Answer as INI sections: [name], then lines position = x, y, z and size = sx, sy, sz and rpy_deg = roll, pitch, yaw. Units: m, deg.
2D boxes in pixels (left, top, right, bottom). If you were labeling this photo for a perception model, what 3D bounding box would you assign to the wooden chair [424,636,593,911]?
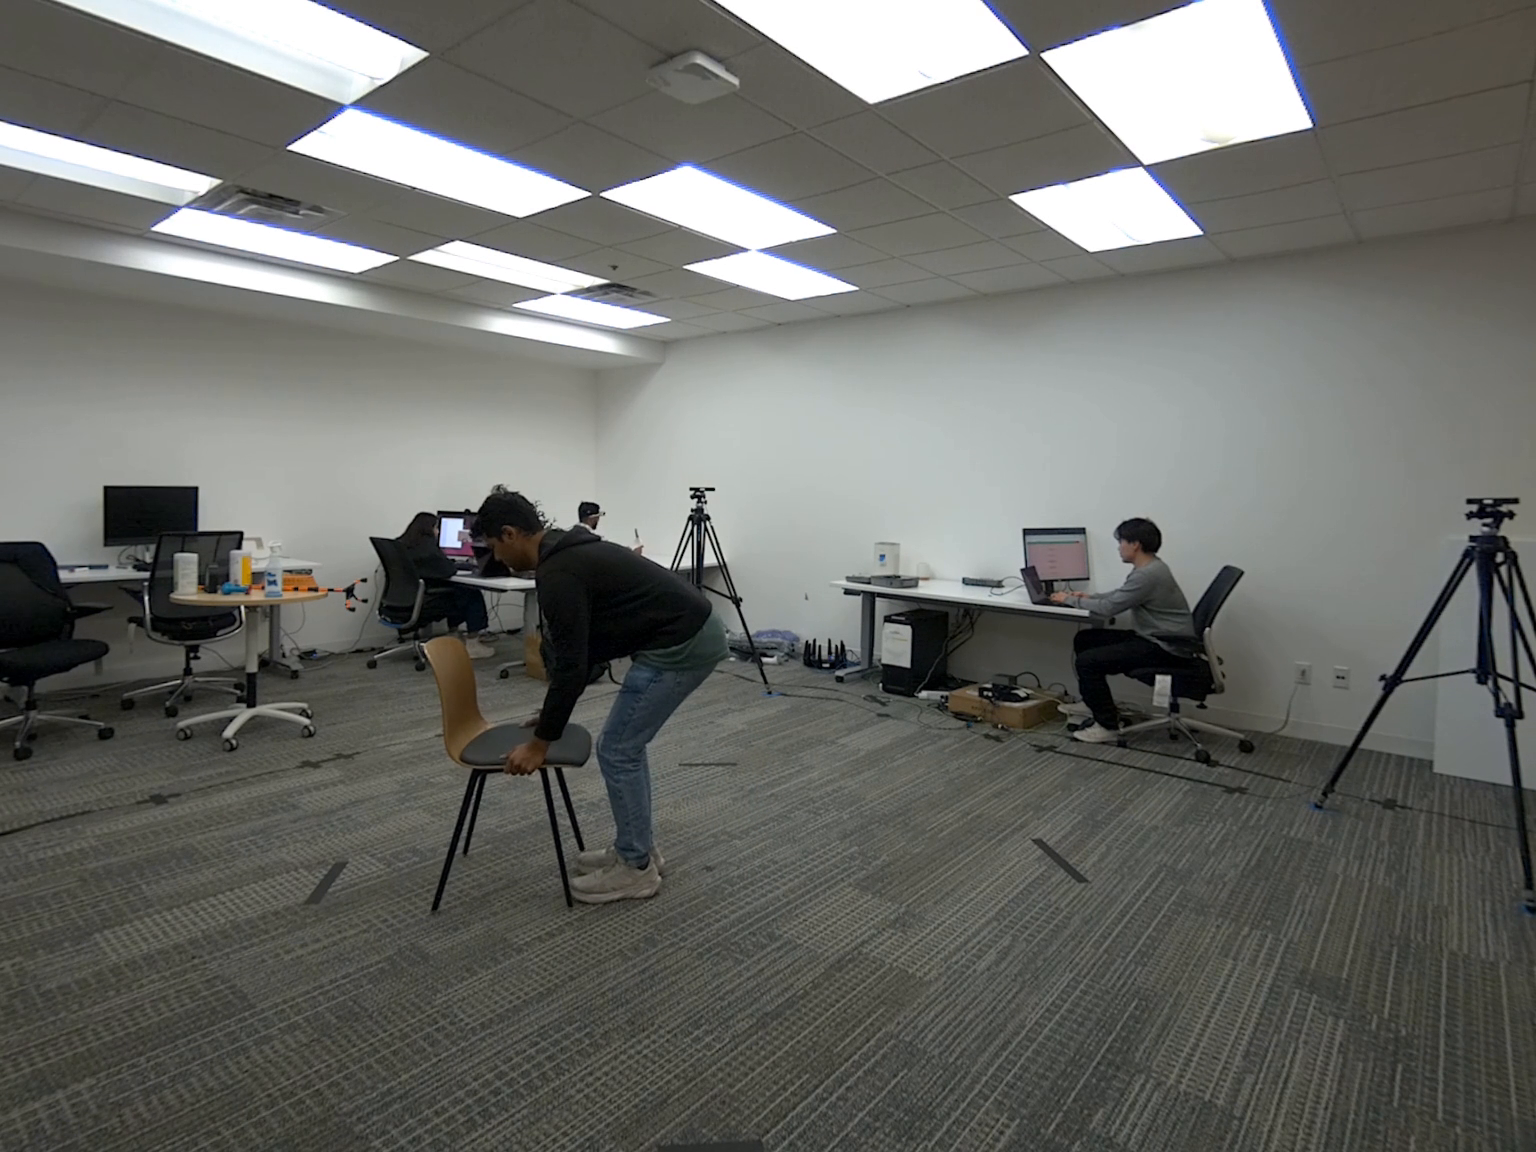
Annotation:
[wooden chair]
position = -0.893, 0.628, 2.970
size = 0.521, 0.874, 0.482
rpy_deg = -5, 4, -5
